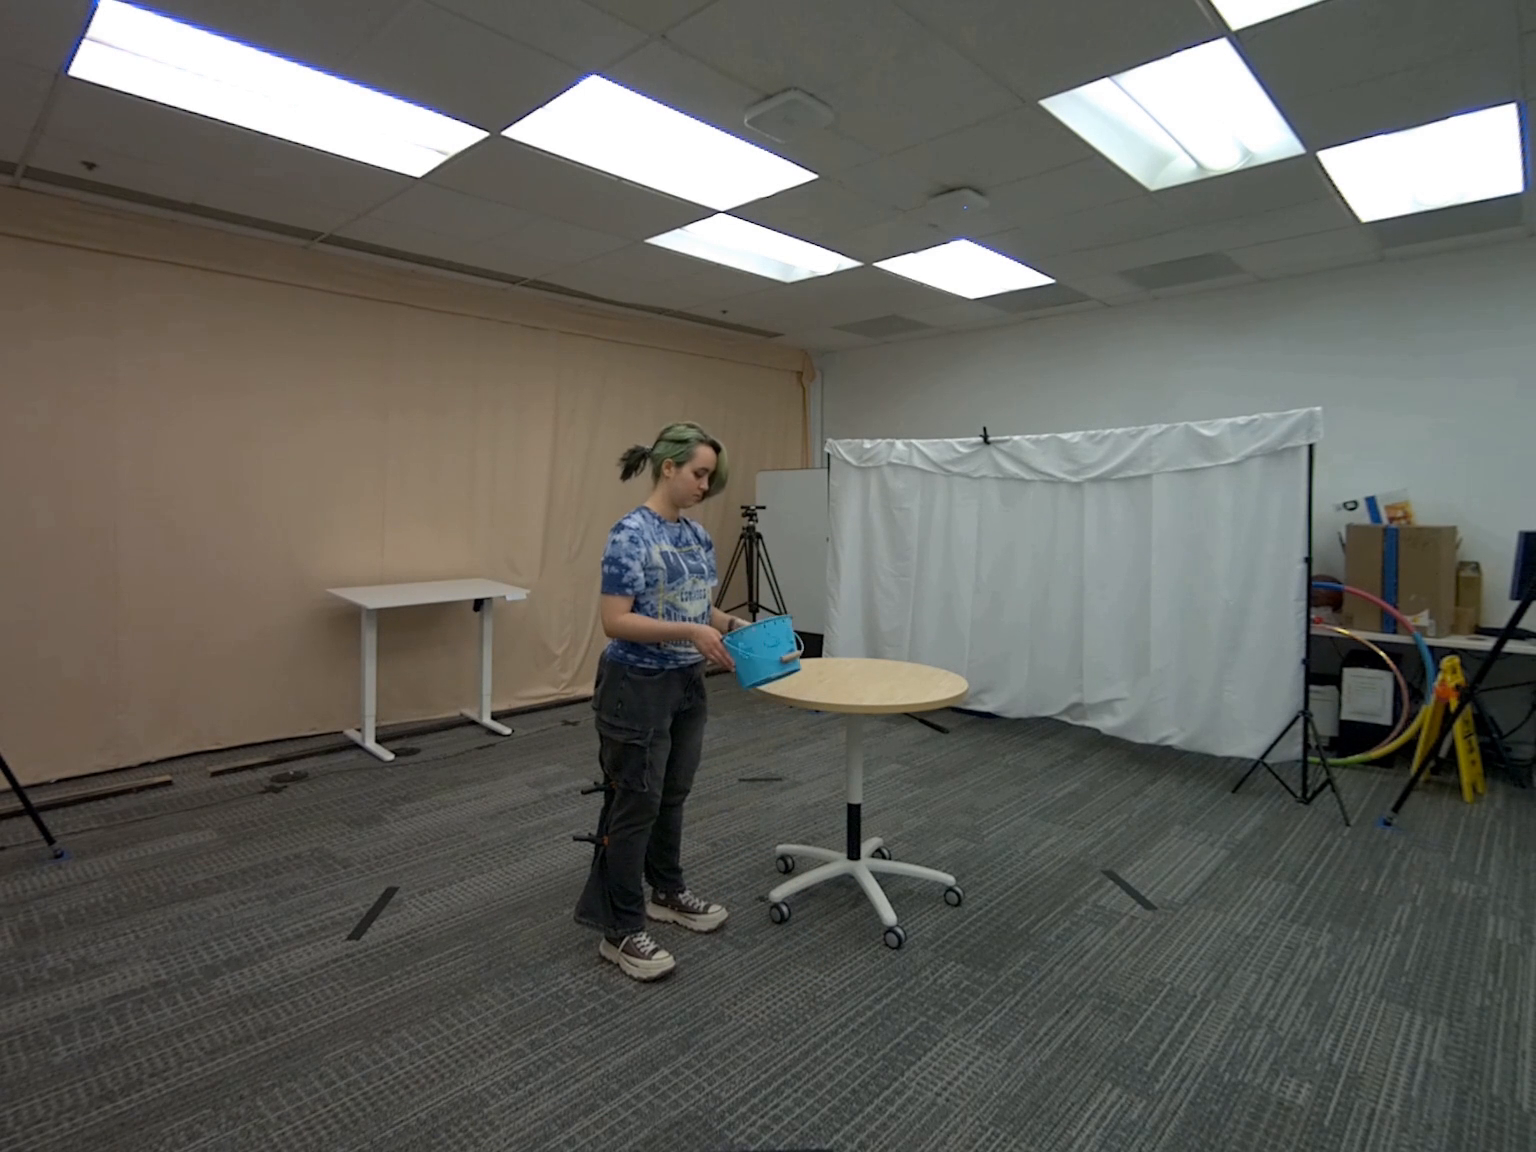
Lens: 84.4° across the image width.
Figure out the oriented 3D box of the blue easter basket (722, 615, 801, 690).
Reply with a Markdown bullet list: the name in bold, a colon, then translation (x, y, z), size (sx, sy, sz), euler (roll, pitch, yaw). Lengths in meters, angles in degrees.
- **blue easter basket**: translation (-0.016, 0.227, 2.401), size (0.242, 0.158, 0.241), euler (-16, -13, -6)
